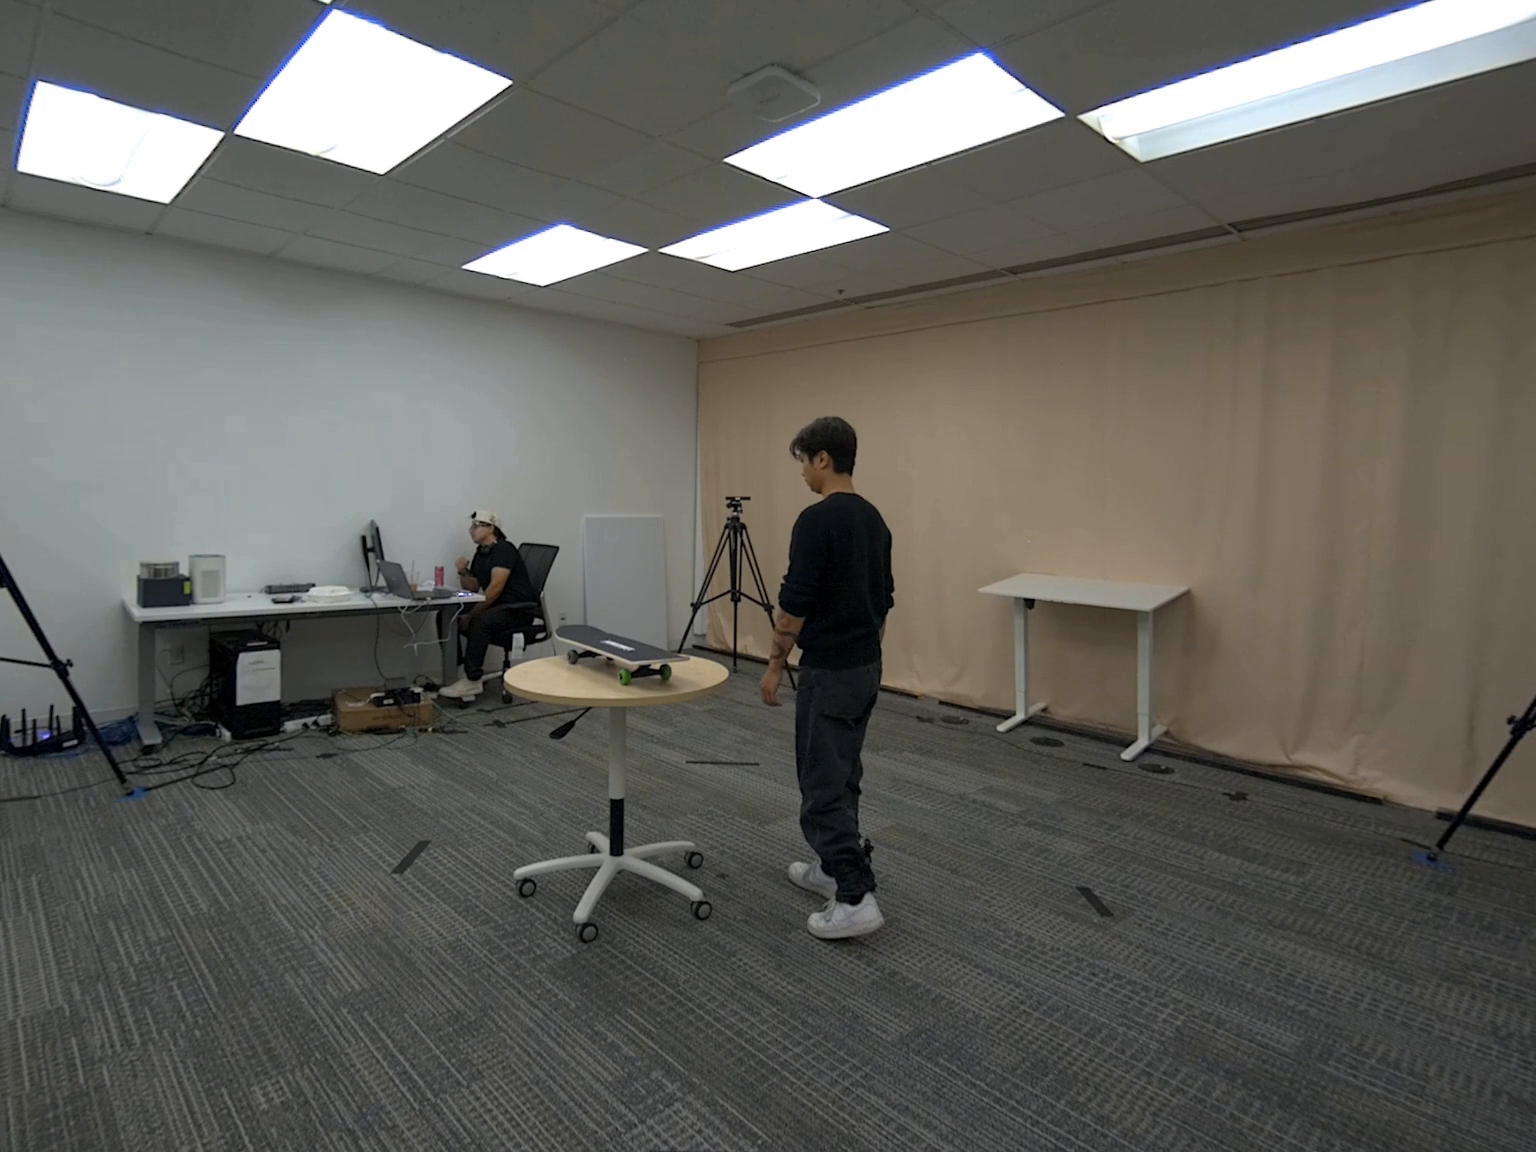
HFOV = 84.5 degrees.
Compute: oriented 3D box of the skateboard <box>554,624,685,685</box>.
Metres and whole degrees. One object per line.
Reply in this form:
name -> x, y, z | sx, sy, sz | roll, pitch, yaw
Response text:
skateboard -> -0.528, 0.280, 2.925 | 0.189, 0.110, 0.805 | -2, 5, -37
